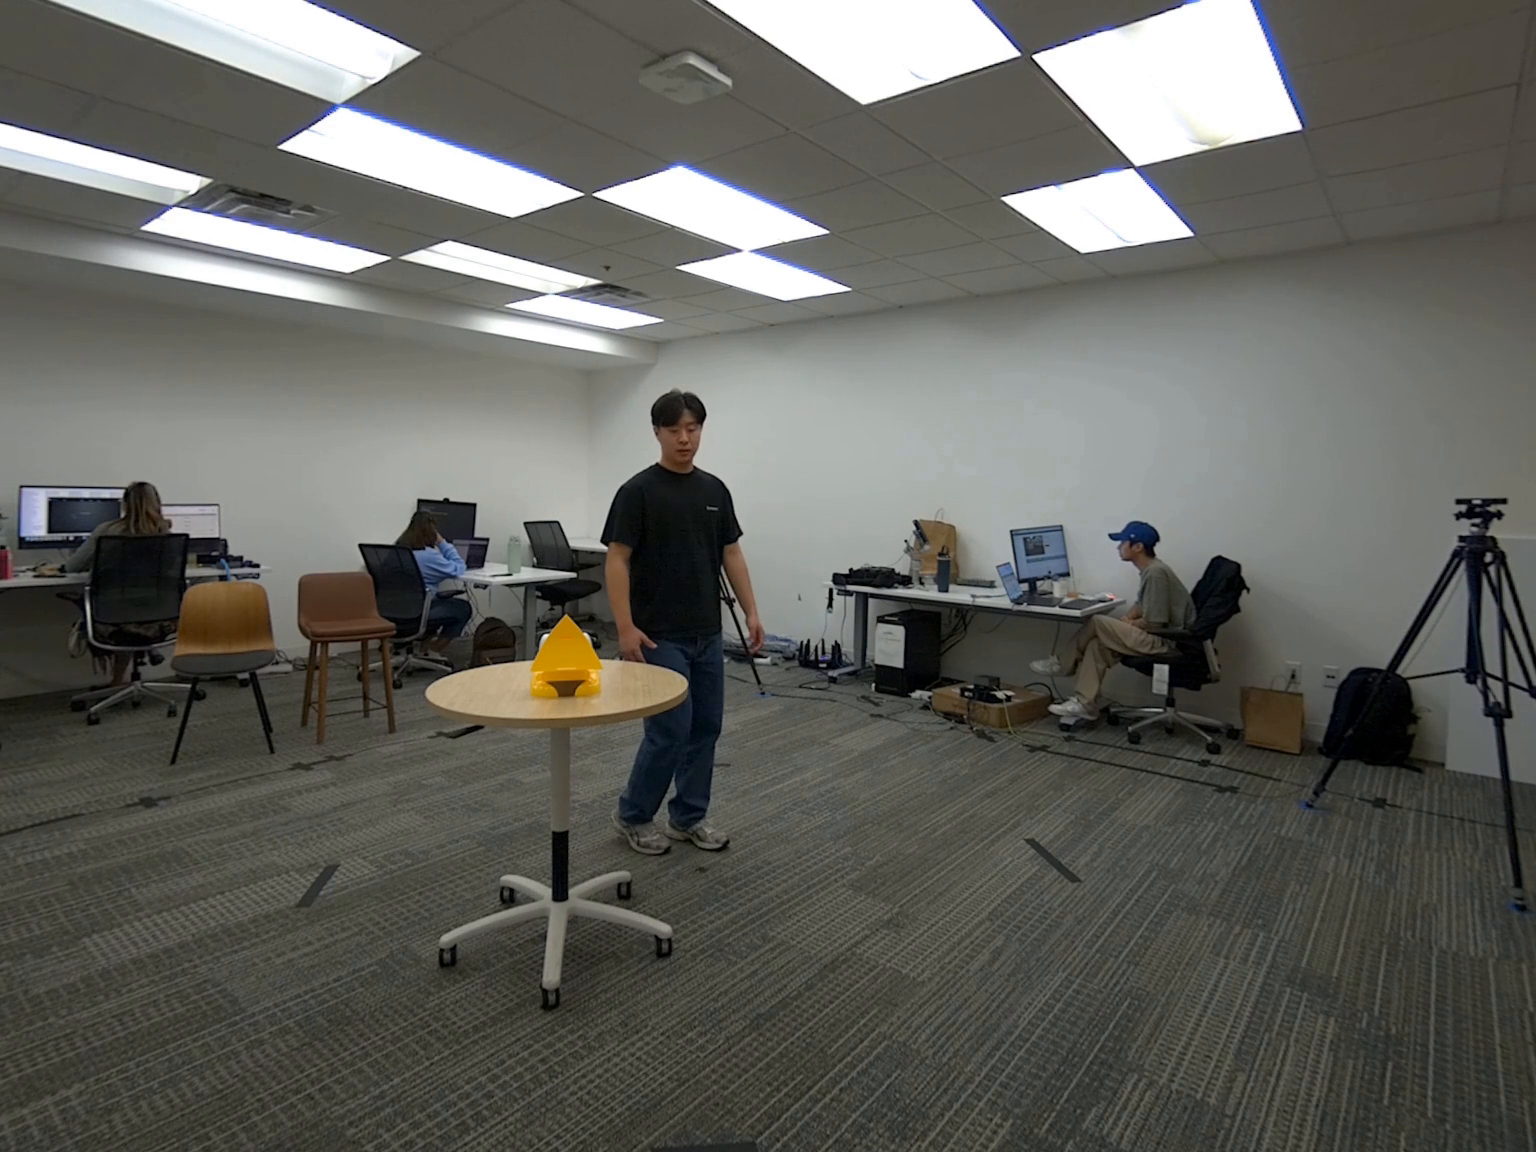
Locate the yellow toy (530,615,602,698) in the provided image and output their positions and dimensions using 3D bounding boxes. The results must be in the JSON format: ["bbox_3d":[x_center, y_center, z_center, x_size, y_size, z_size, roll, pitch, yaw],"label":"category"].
[{"bbox_3d":[-0.592,0.216,2.455,0.202,0.230,0.196,0,4,-14],"label":"yellow toy"}]
